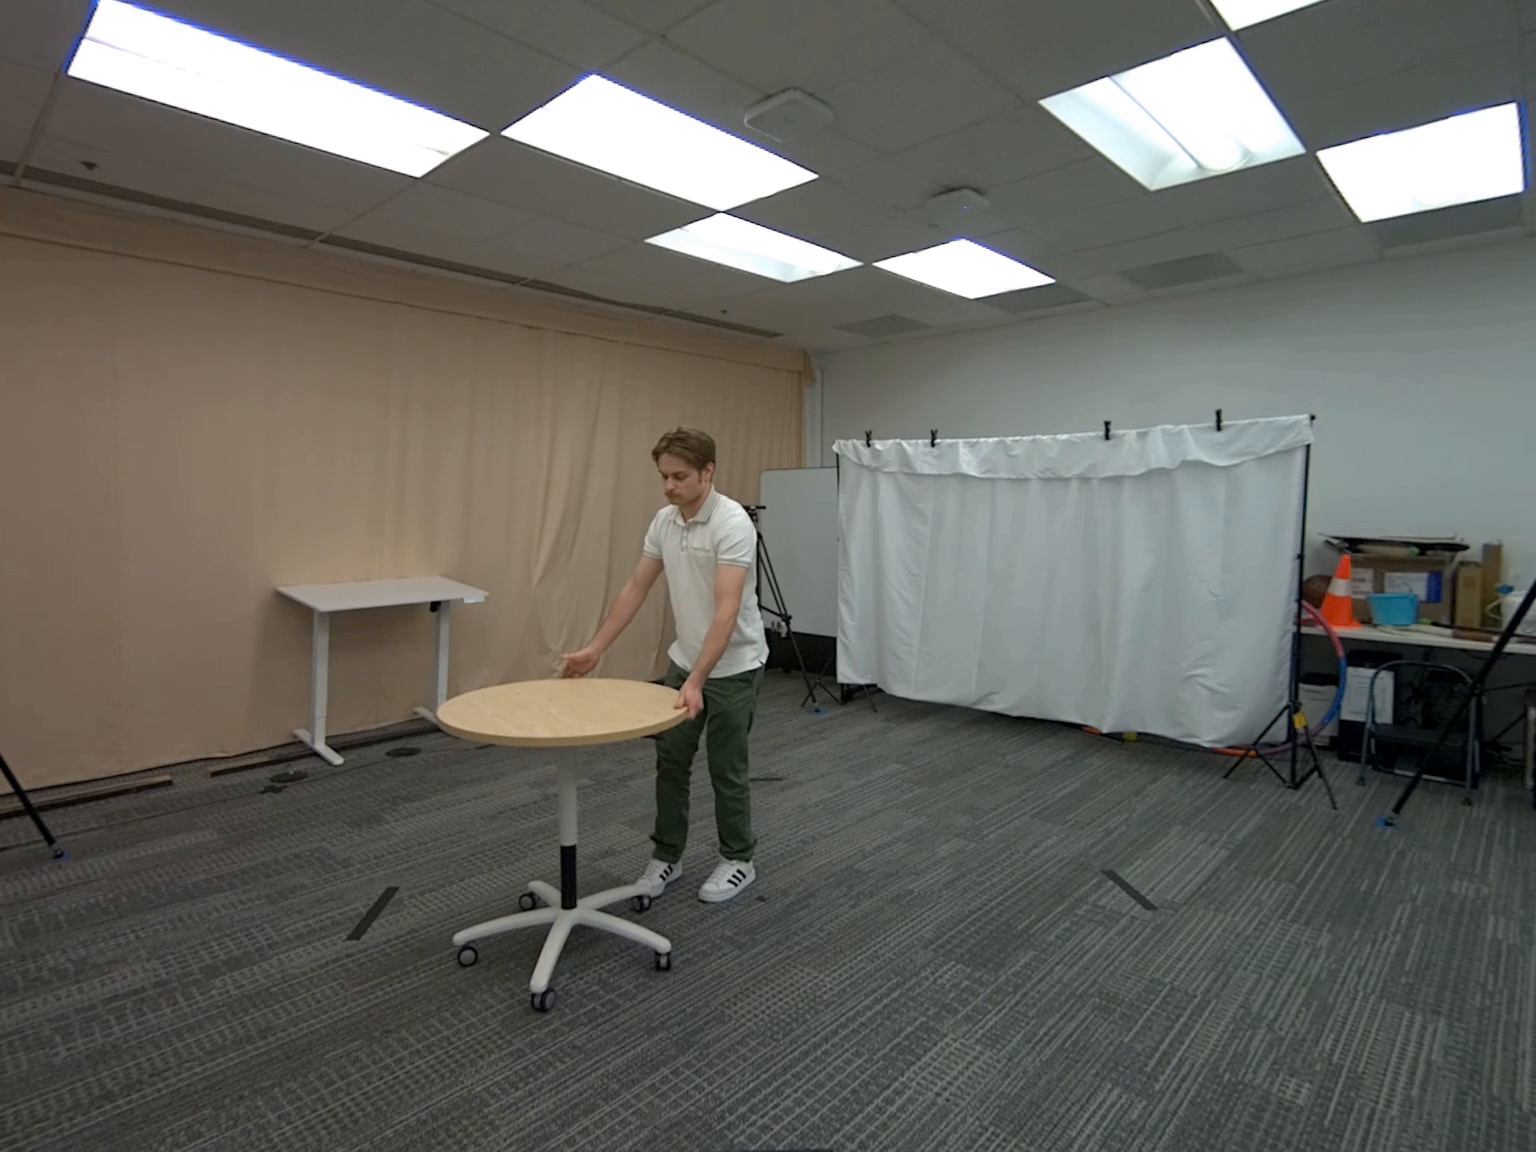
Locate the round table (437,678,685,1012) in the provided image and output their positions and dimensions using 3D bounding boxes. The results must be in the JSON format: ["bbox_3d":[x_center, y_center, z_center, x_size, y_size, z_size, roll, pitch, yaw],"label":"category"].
[{"bbox_3d":[-0.624,0.789,2.630,0.763,0.792,0.766,-1,4,-2],"label":"round table"}]
